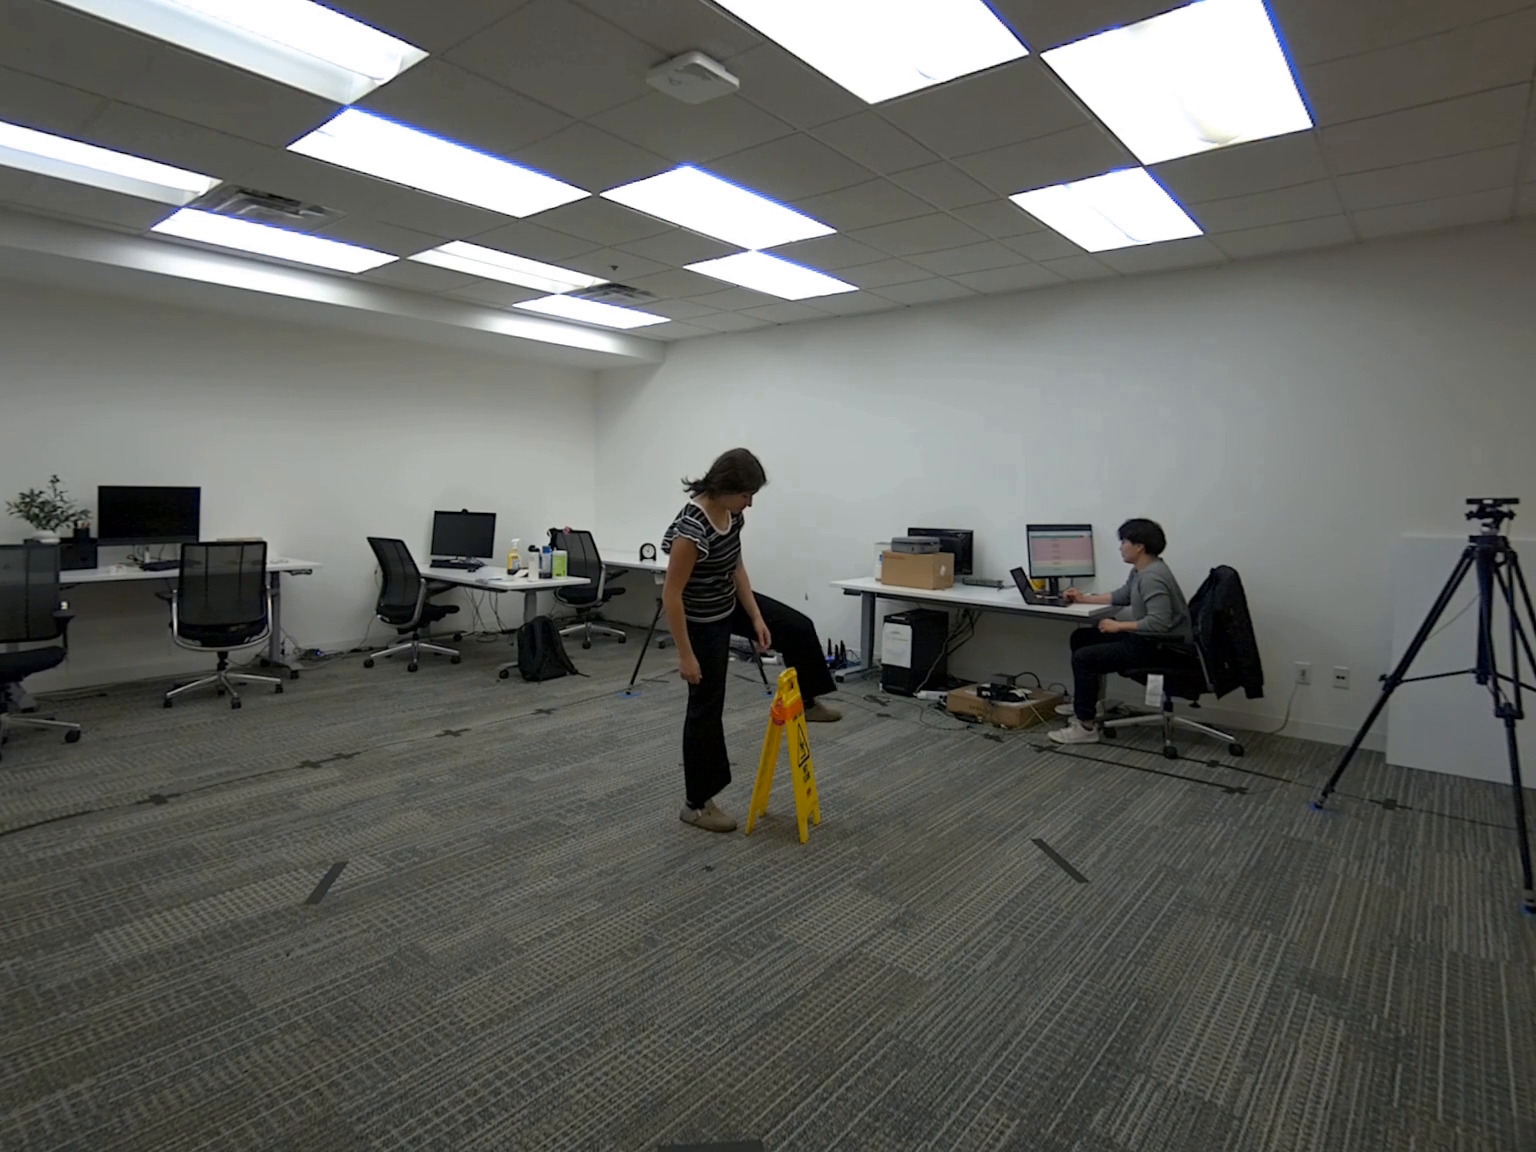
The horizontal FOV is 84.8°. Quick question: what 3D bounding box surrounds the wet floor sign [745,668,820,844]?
[{"bbox_3d":[0.065,0.711,3.498,0.295,0.643,0.278,4,4,17],"label":"wet floor sign"}]
